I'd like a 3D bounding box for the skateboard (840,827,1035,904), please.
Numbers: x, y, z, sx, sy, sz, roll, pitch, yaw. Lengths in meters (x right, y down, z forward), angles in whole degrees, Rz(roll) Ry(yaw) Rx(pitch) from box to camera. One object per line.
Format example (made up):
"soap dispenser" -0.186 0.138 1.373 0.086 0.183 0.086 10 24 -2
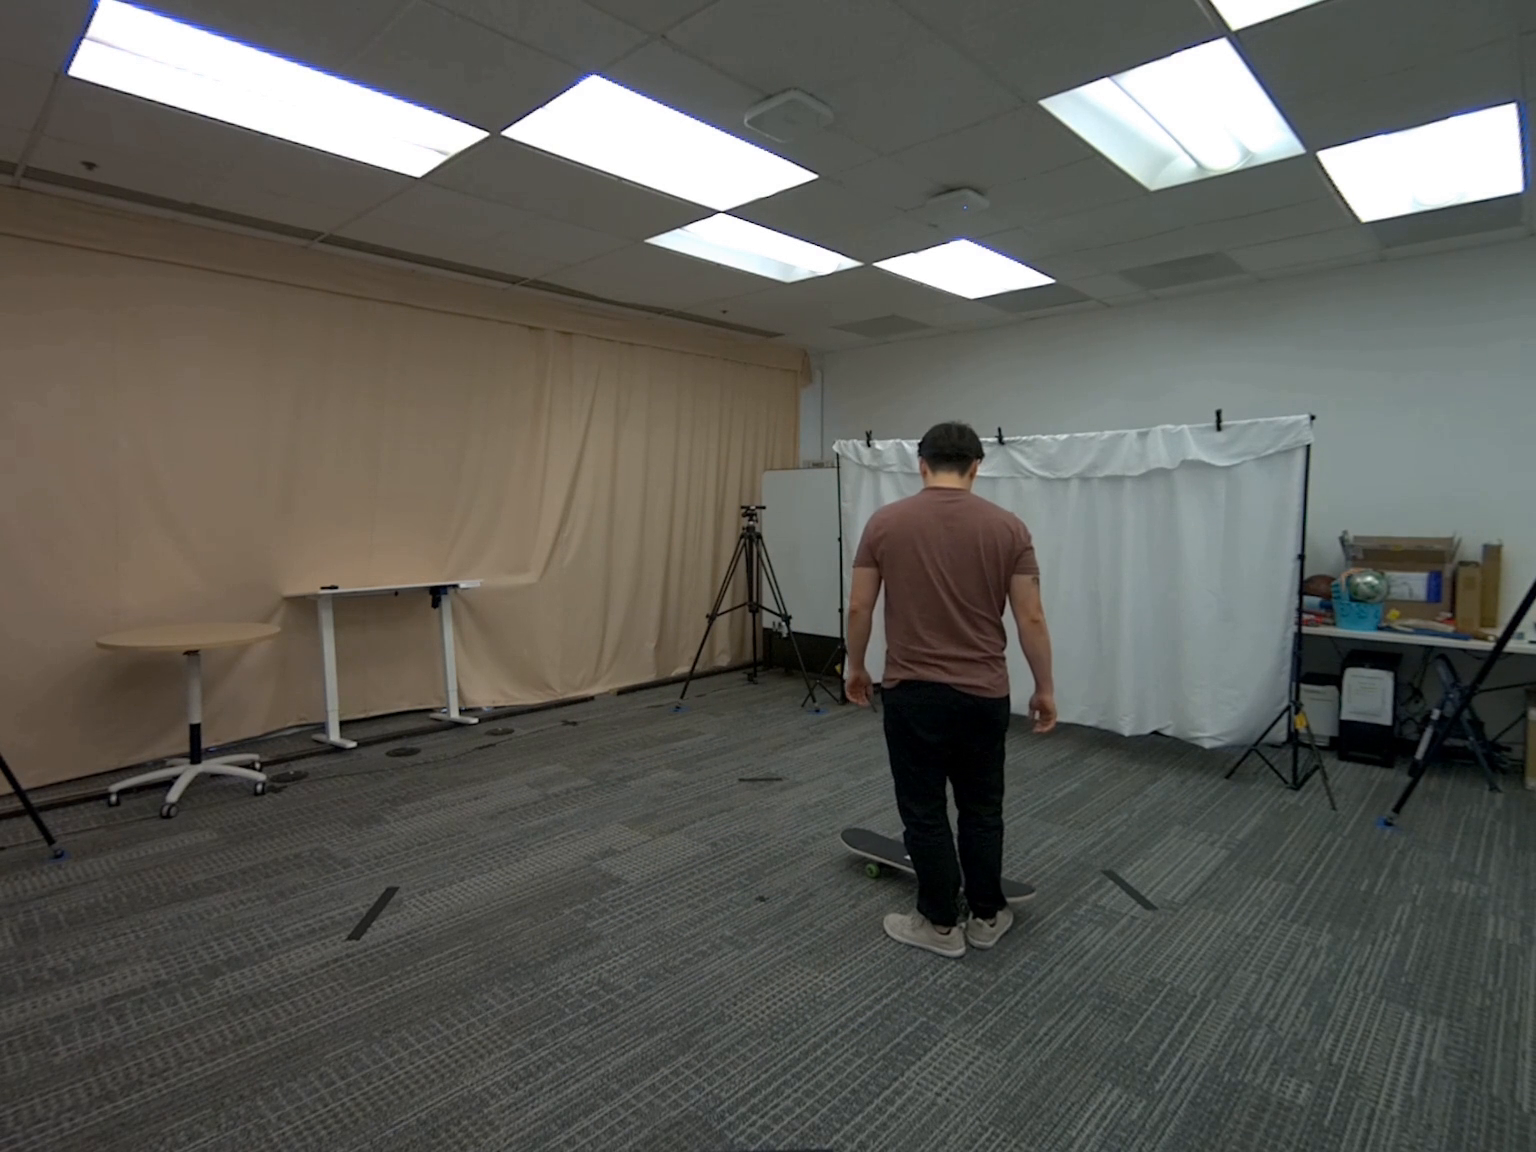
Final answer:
"skateboard" 0.595 1.076 3.058 0.187 0.110 0.812 -3 5 -44
